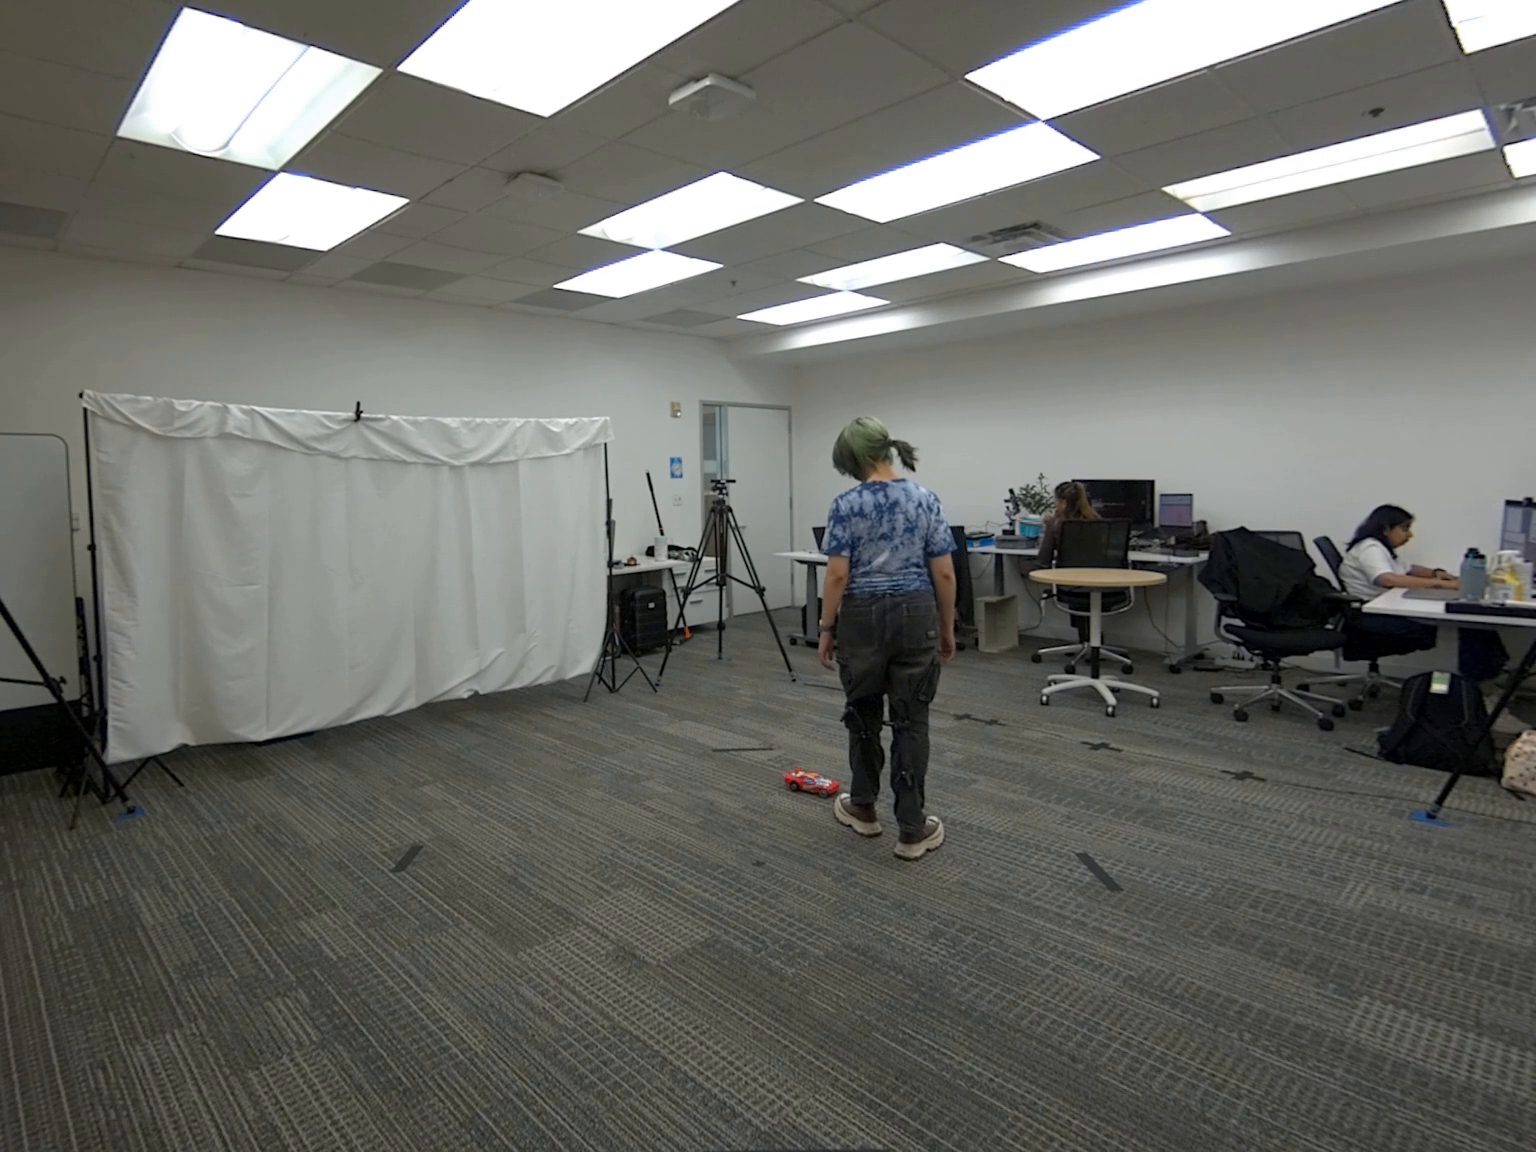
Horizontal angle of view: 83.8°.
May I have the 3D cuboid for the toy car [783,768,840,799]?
[{"bbox_3d":[0.189,0.930,3.839,0.263,0.082,0.127,16,13,32],"label":"toy car"}]
